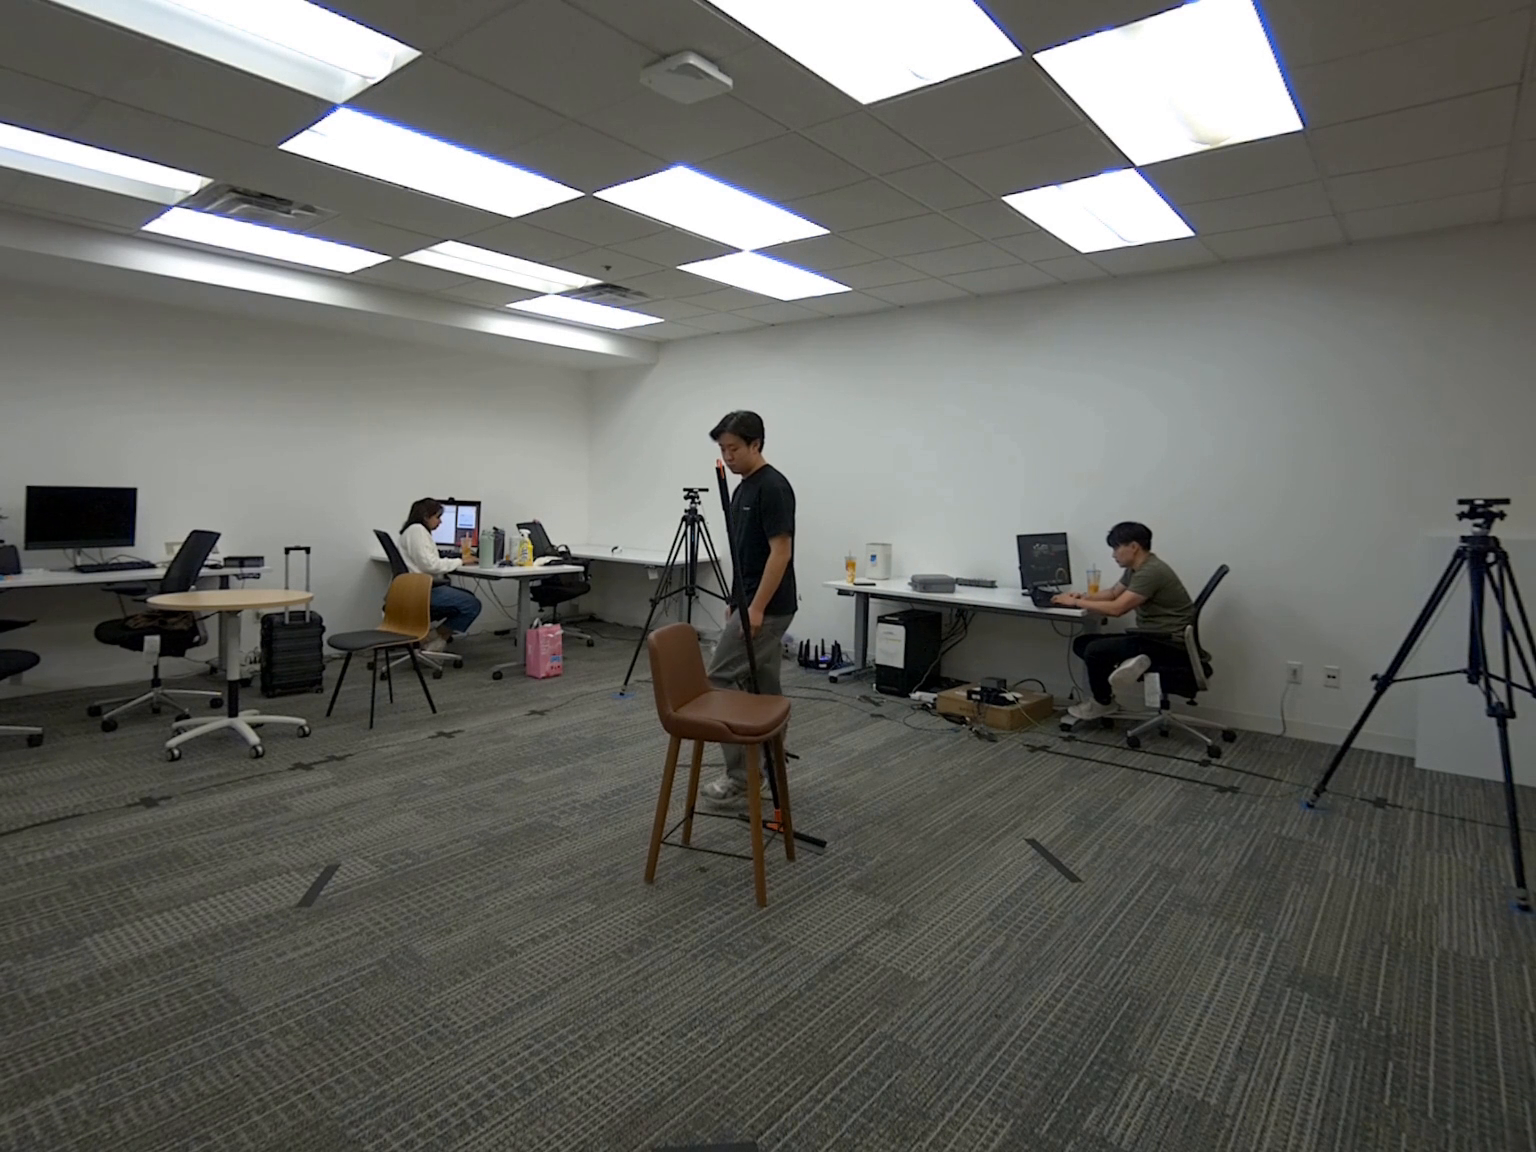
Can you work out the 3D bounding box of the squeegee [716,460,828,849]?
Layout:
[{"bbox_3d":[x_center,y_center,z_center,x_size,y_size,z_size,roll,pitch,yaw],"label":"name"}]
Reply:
[{"bbox_3d":[-0.059,0.305,3.244,0.452,1.518,0.052,4,16,44],"label":"squeegee"}]
